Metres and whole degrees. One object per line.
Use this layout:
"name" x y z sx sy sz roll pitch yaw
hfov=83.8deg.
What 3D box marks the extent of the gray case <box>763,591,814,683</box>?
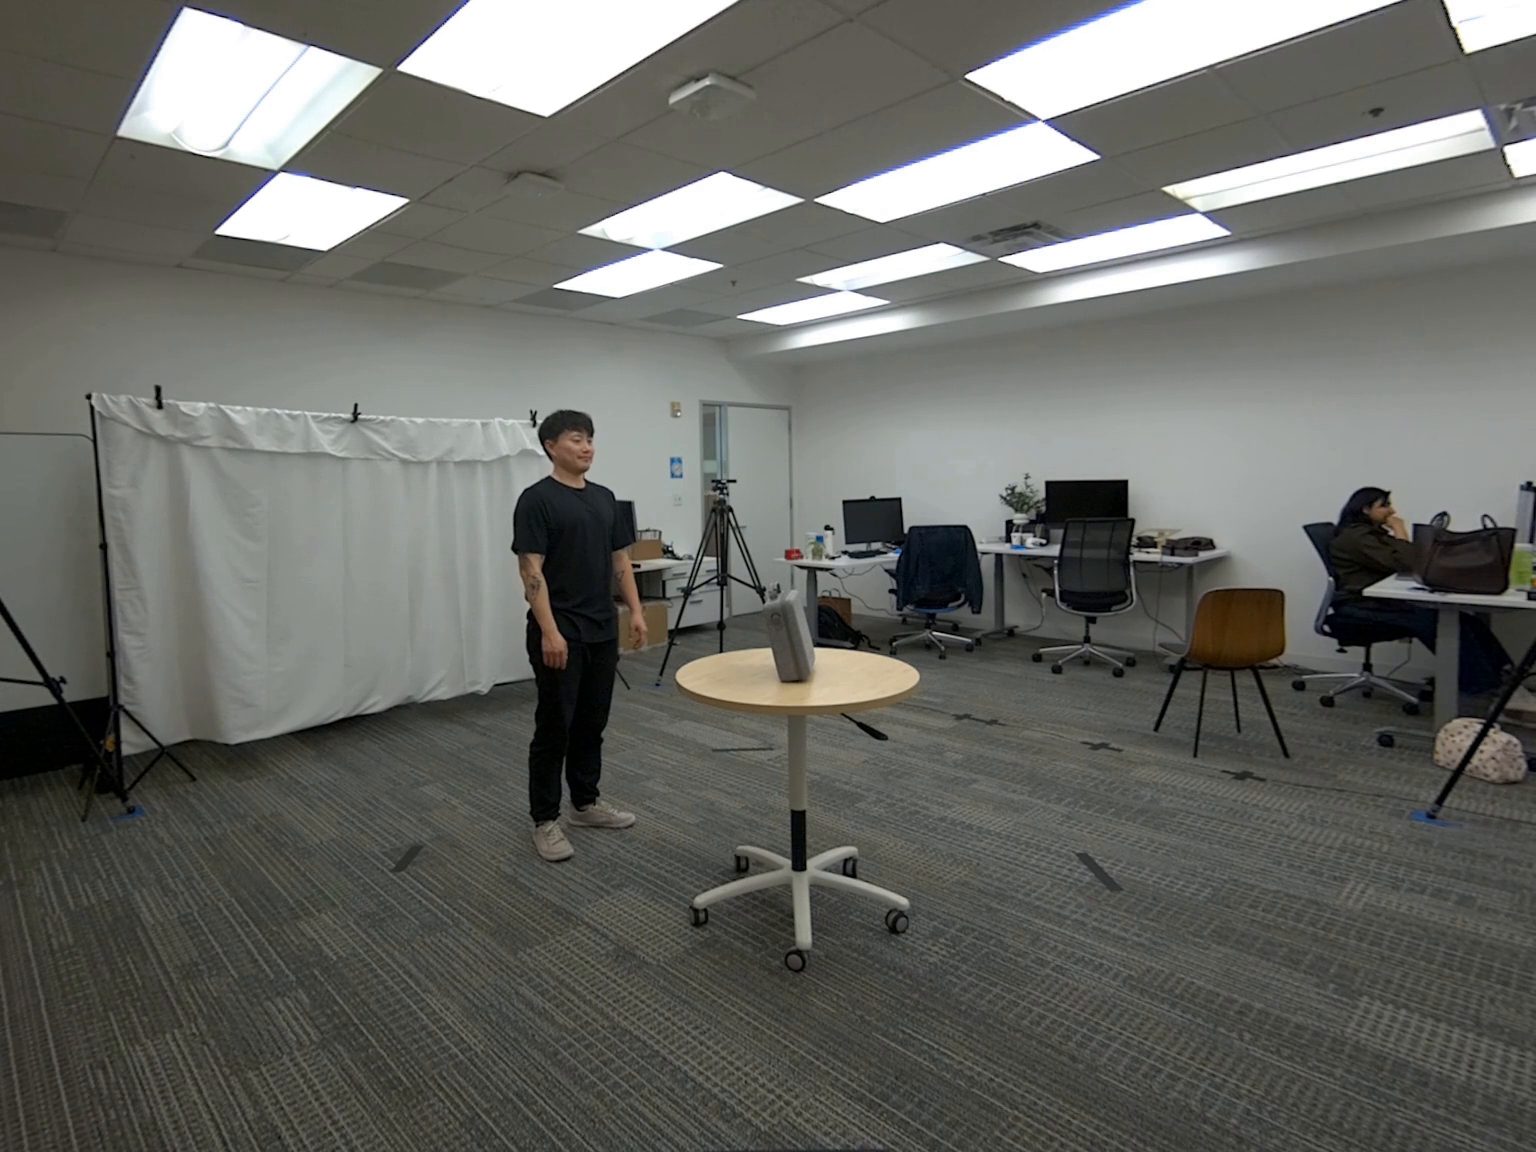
"gray case" 0.072 0.178 2.686 0.105 0.260 0.256 -11 2 6
